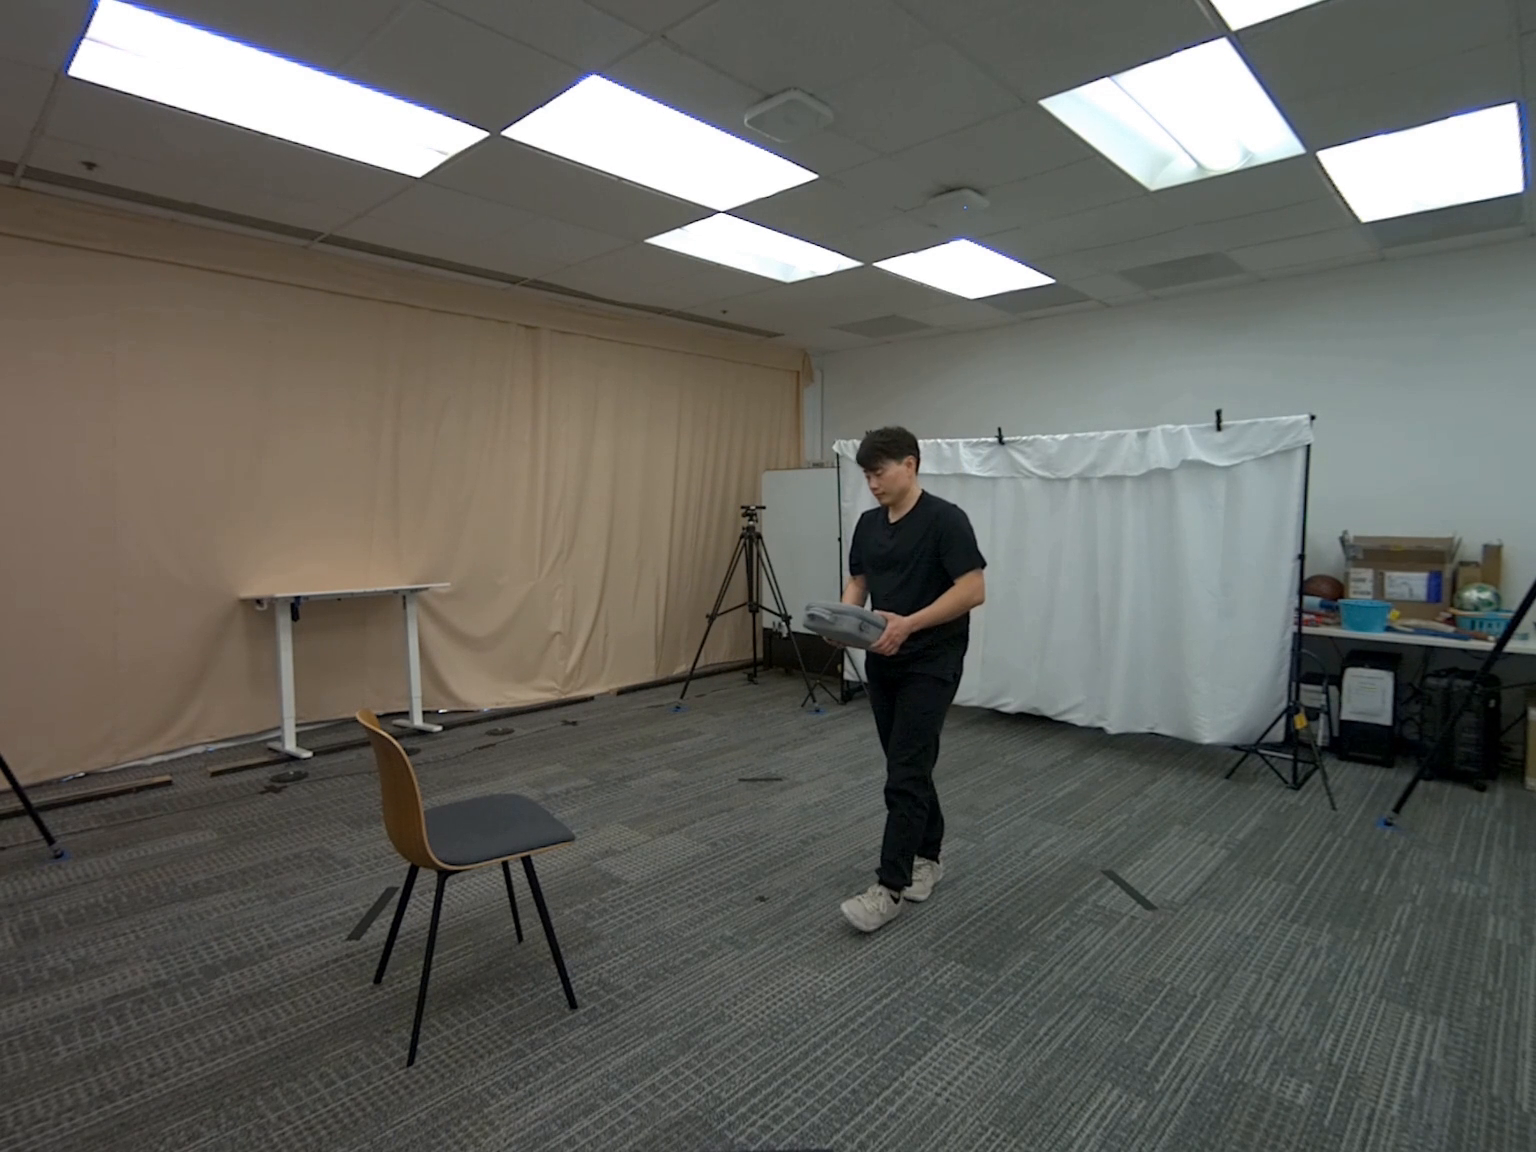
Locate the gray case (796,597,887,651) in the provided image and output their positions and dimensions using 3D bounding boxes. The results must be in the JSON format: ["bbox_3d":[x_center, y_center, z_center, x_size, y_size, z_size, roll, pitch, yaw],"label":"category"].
[{"bbox_3d":[0.281,0.167,2.796,0.252,0.104,0.265,22,-9,-31],"label":"gray case"}]
